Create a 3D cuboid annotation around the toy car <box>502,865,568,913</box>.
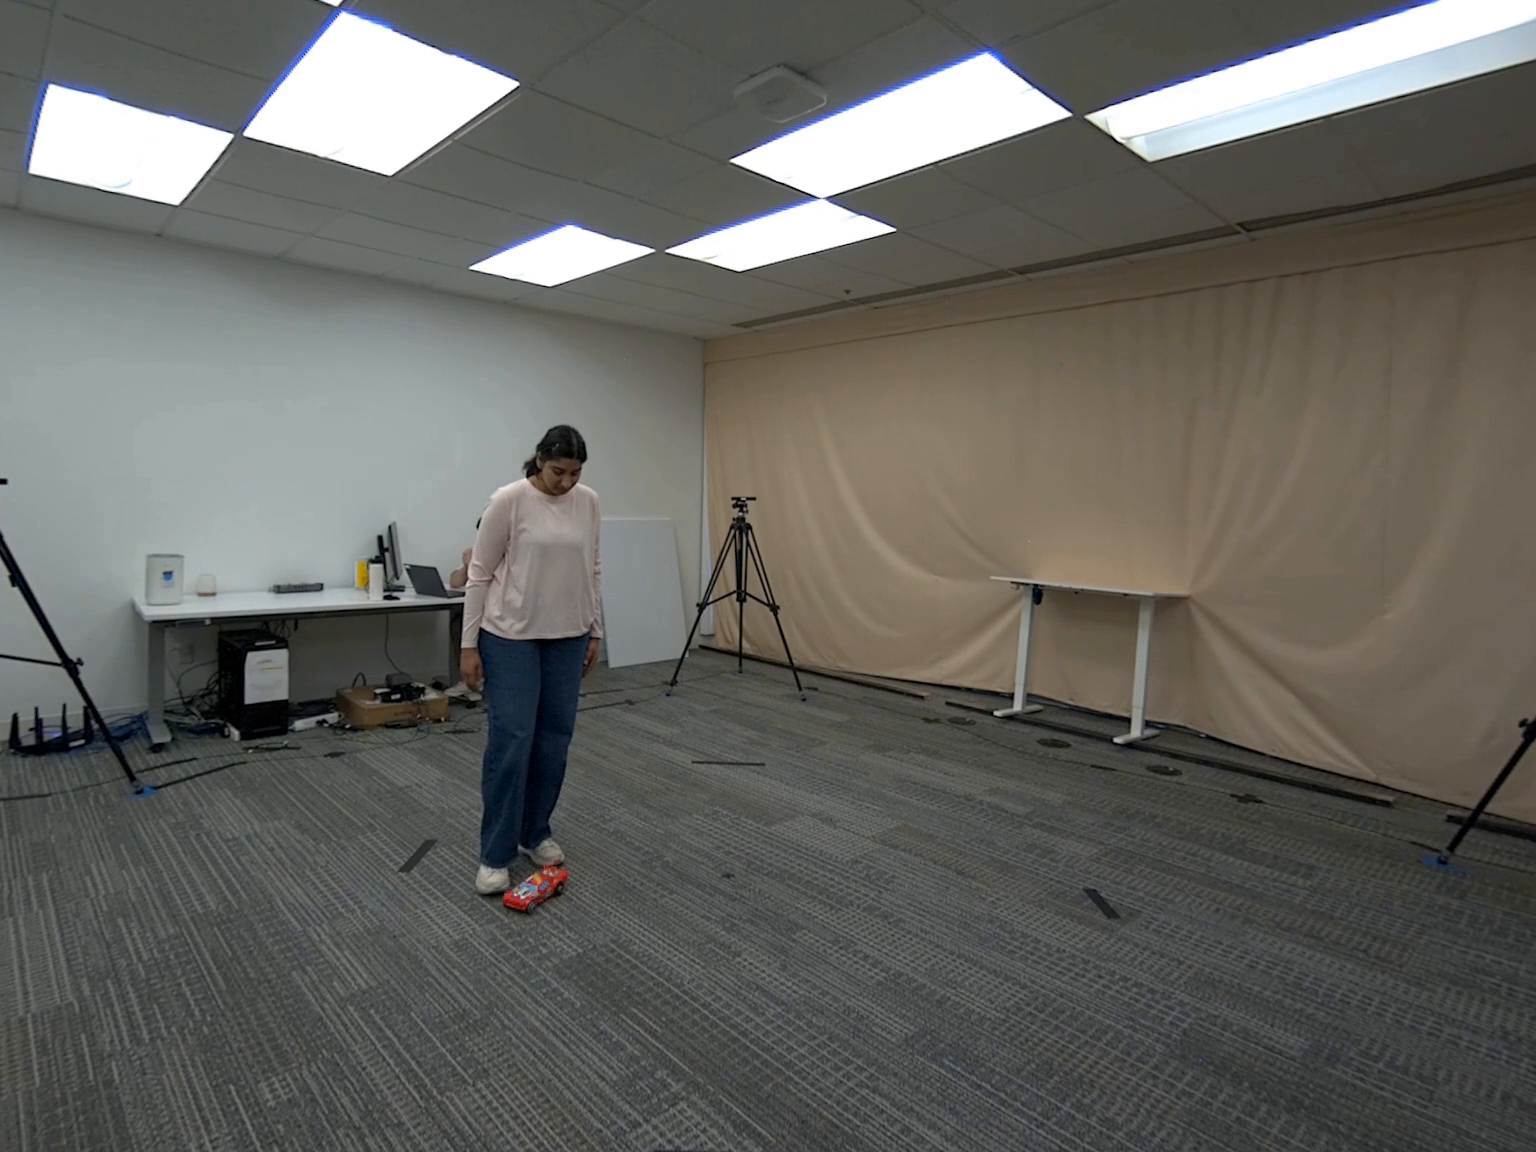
[{"bbox_3d":[-0.805,1.083,2.895,0.133,0.082,0.252,3,16,25],"label":"toy car"}]
